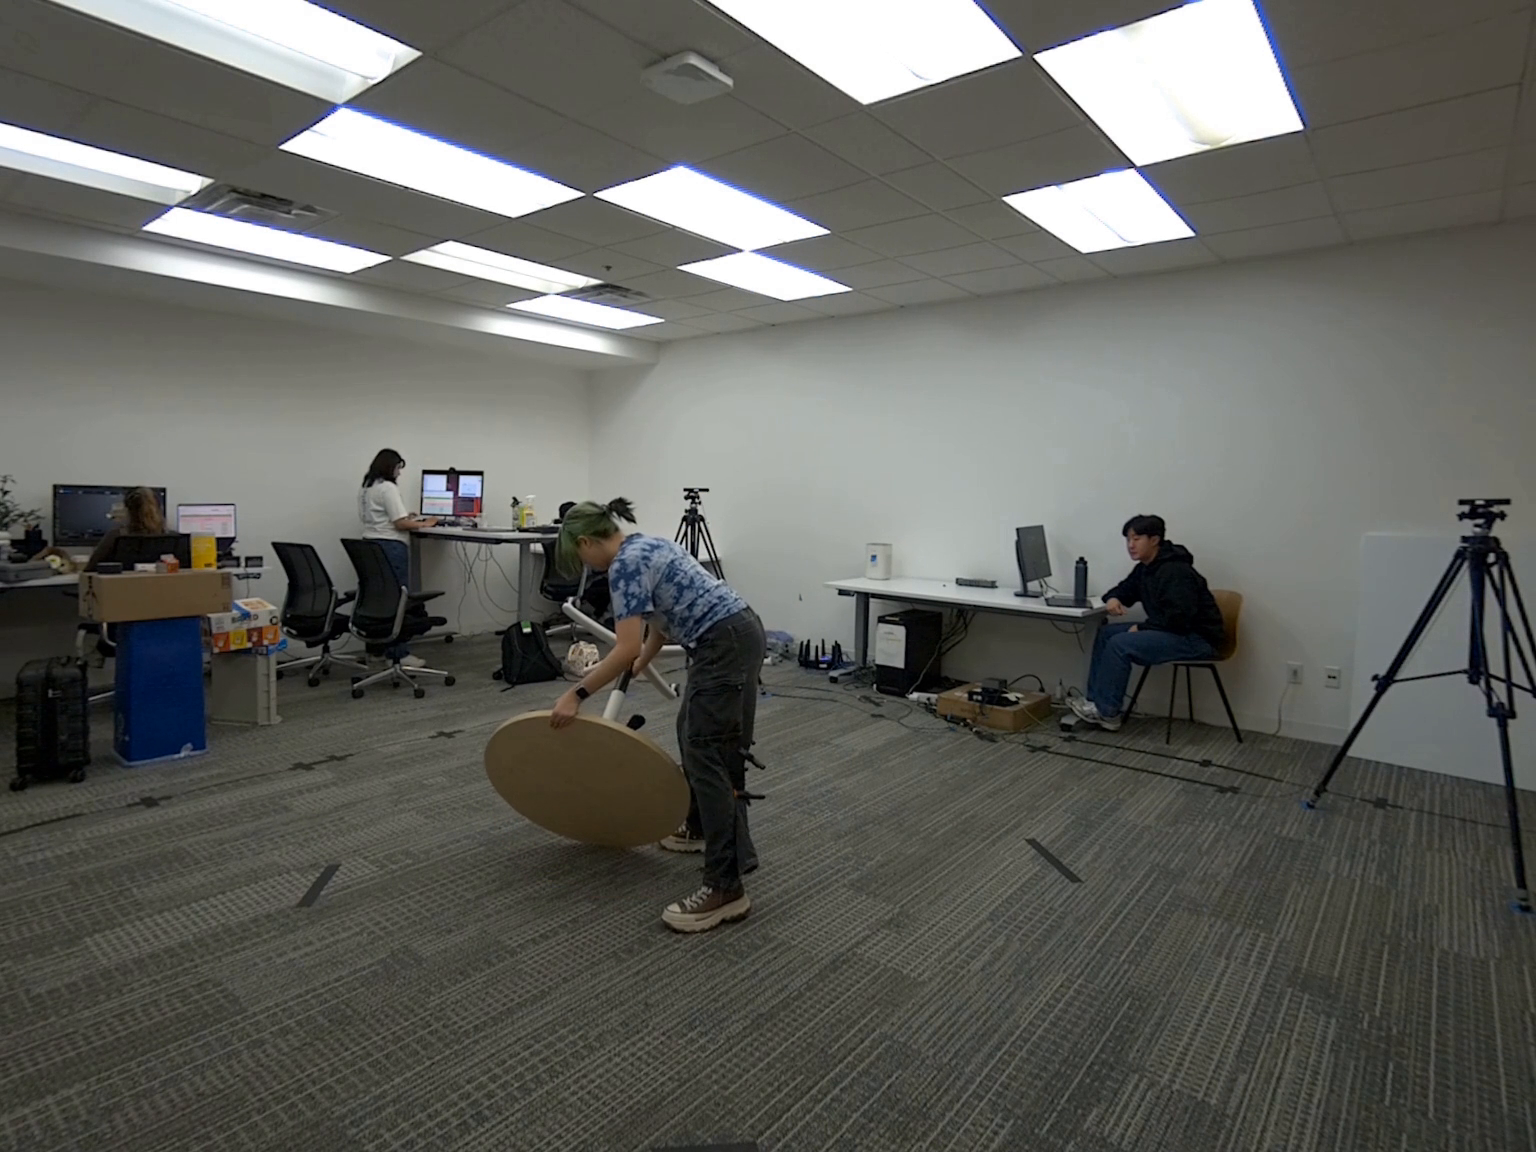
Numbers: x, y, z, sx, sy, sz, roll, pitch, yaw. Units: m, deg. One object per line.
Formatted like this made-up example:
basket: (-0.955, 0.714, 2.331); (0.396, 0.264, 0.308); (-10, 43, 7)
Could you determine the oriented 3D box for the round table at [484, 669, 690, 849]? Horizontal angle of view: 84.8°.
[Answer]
round table: (-0.617, 0.501, 3.368); (0.773, 0.740, 0.810); (1, 39, 10)
